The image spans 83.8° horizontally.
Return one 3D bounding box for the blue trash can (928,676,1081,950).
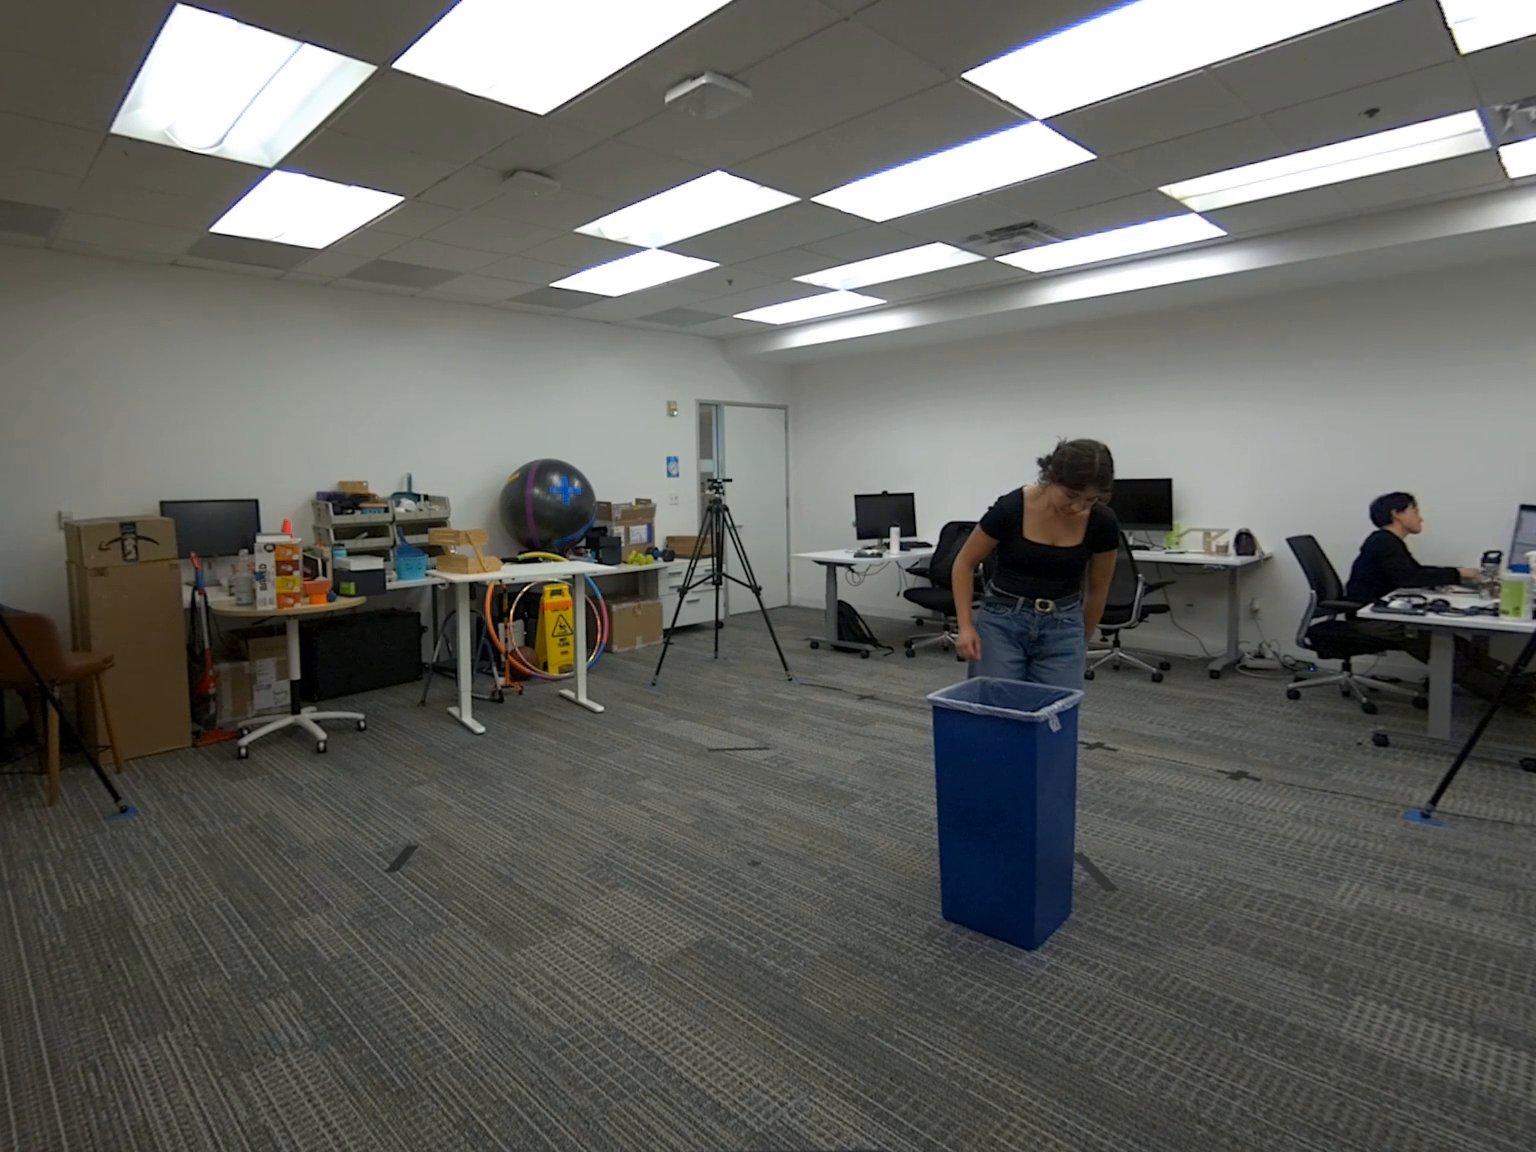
[{"bbox_3d":[0.749,0.724,2.675,0.389,0.712,0.364,2,4,41],"label":"blue trash can"}]
